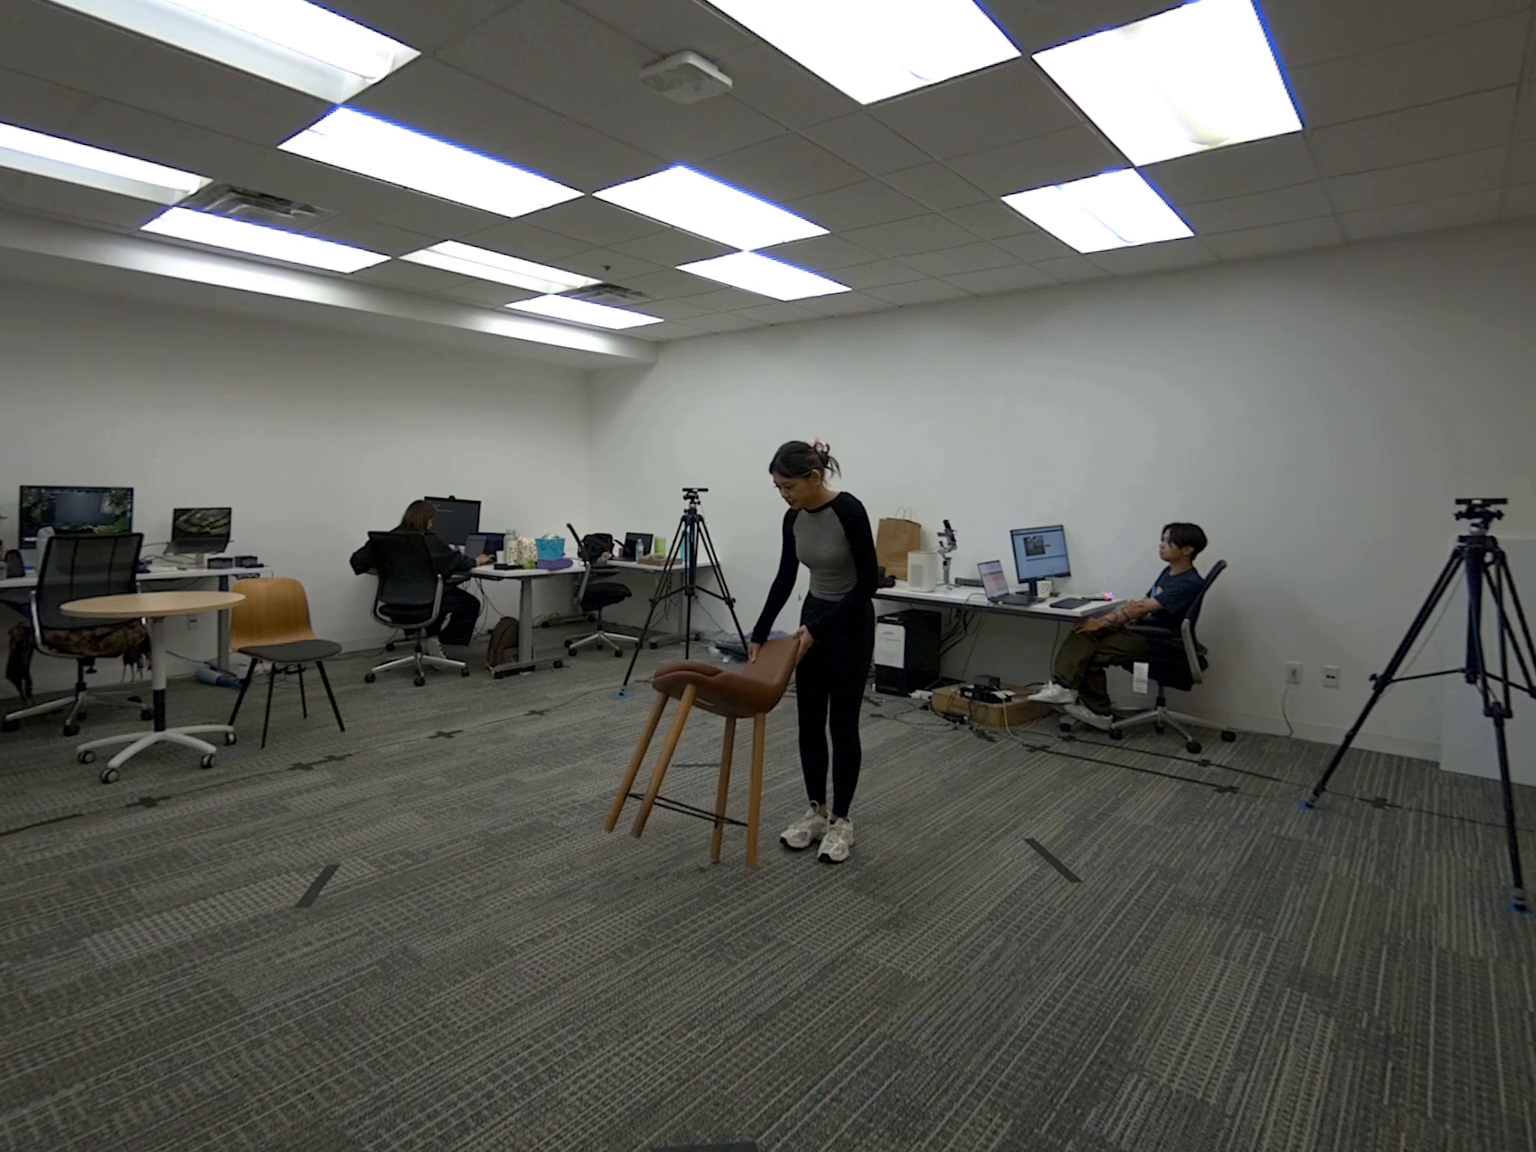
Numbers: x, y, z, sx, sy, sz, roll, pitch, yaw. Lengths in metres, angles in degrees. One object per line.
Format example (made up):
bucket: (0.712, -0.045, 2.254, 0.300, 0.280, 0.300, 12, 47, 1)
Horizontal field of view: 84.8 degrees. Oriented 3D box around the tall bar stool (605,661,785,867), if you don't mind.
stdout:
tall bar stool: (-0.222, 0.556, 3.119, 0.458, 0.901, 0.460, 22, -22, -16)
